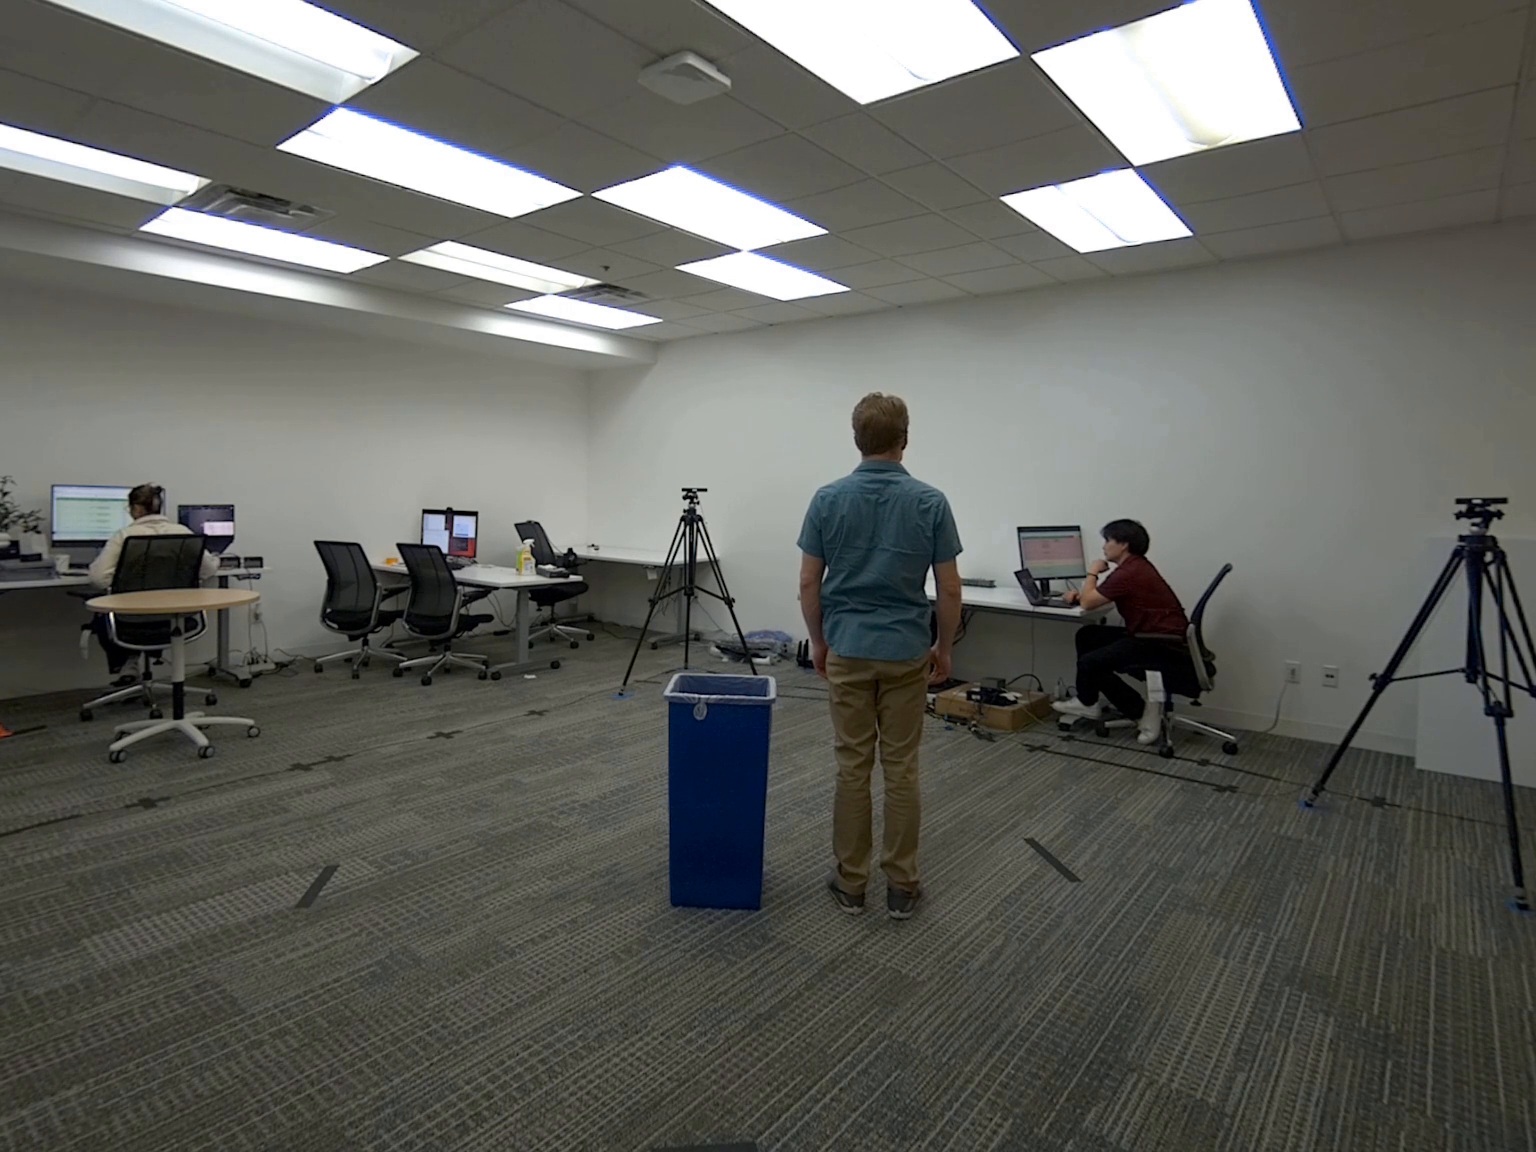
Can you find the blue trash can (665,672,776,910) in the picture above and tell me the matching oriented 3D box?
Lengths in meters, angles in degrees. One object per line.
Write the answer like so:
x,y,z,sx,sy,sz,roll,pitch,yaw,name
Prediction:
-0.169,0.727,2.960,0.375,0.712,0.378,1,2,1,blue trash can
